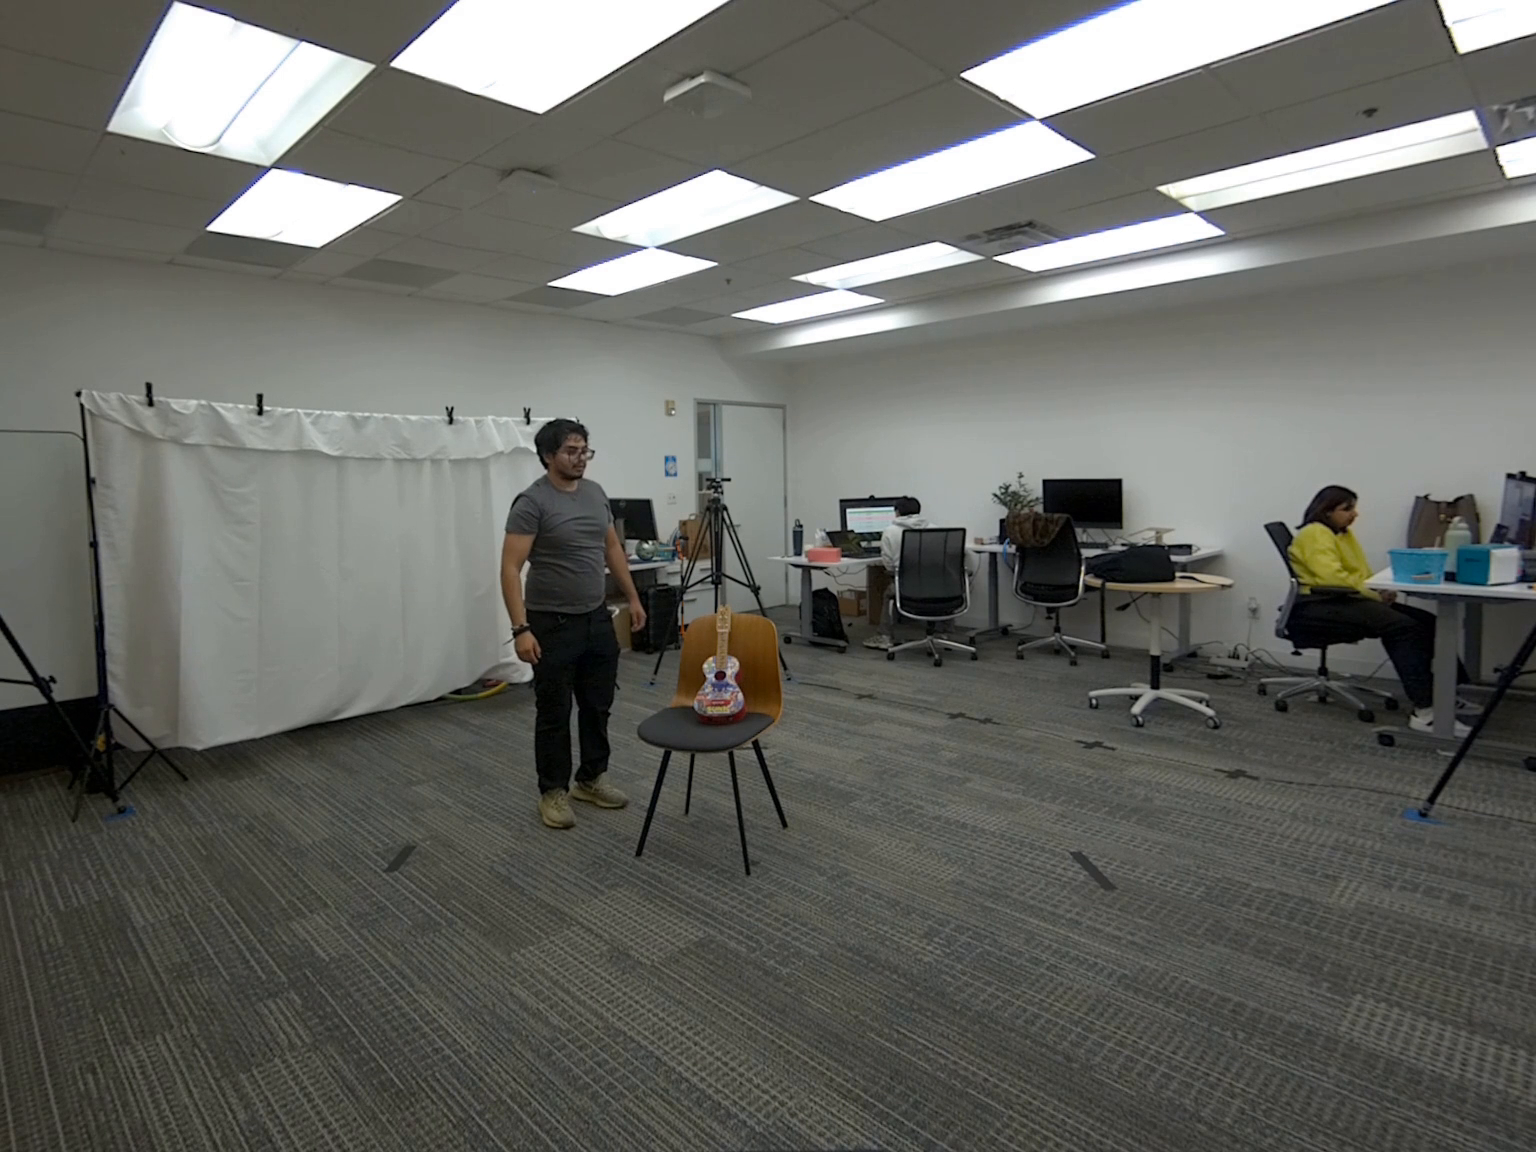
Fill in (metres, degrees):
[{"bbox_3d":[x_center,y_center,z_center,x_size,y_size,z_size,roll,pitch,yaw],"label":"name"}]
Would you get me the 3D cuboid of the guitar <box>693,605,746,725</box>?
[{"bbox_3d":[-0.156,0.336,3.350,0.195,0.508,0.068,2,-36,11],"label":"guitar"}]
